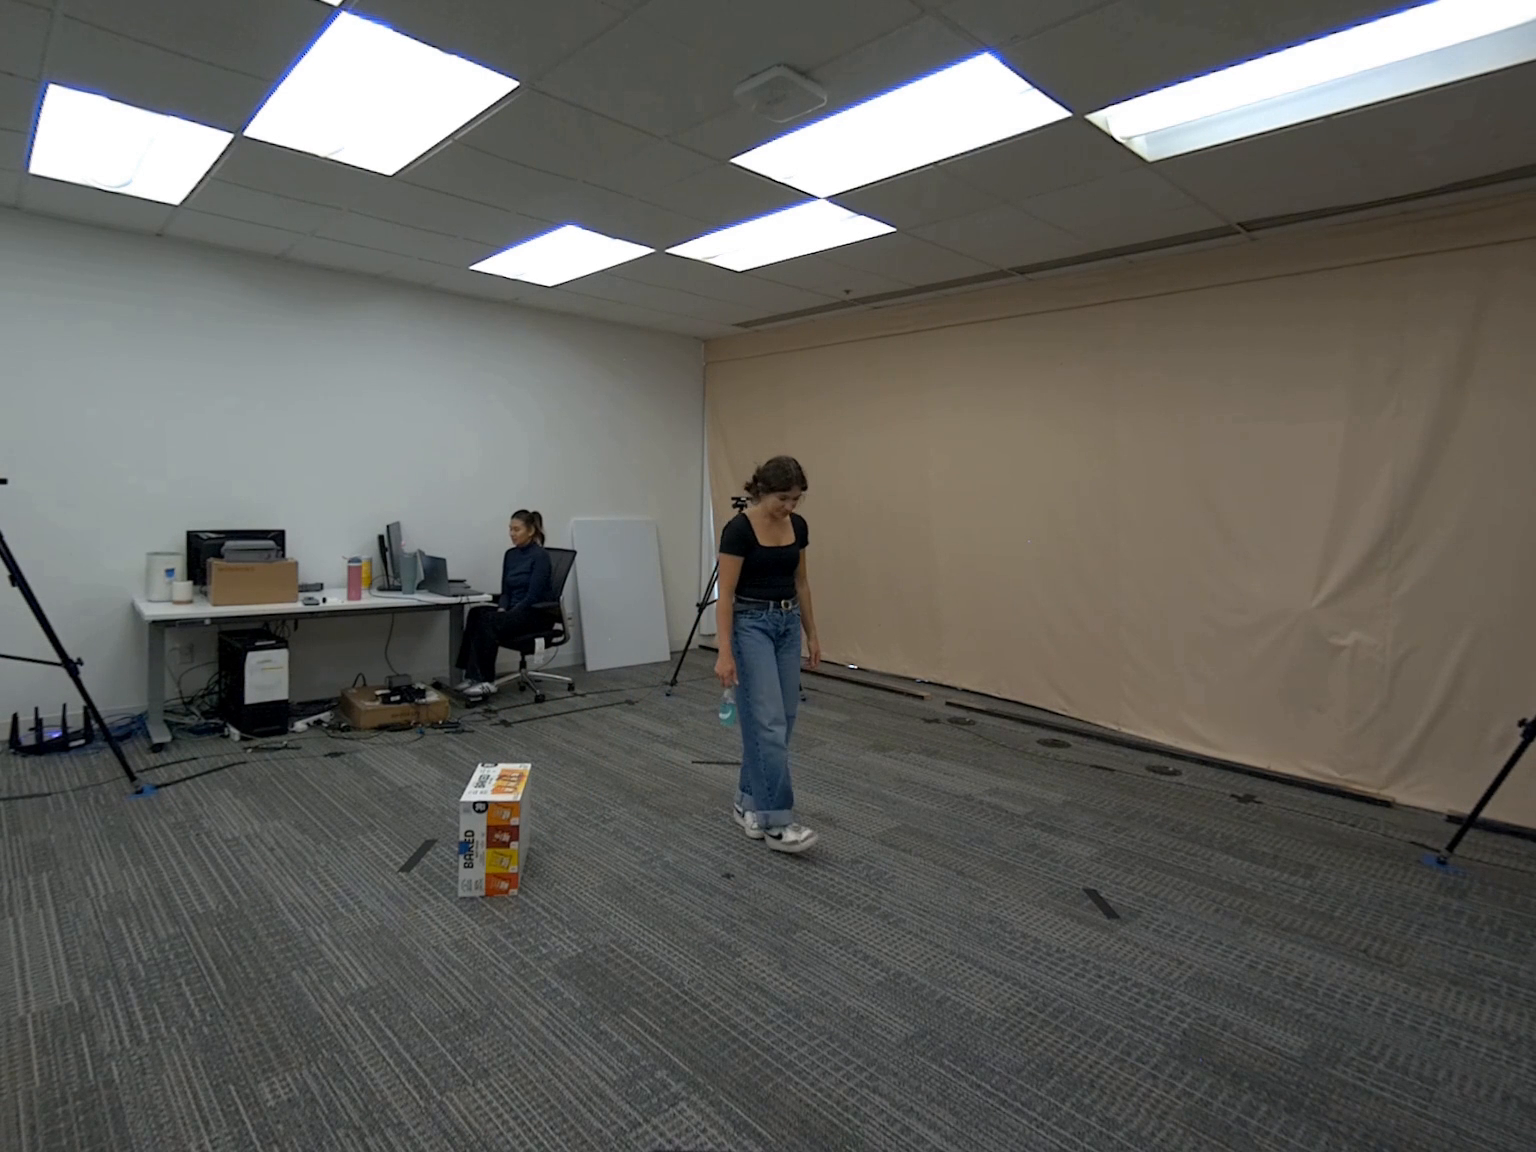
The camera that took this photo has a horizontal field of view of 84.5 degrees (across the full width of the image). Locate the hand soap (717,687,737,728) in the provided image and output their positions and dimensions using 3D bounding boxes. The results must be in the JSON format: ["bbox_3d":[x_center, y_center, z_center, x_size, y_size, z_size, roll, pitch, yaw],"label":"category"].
[{"bbox_3d":[-0.168,0.501,3.306,0.086,0.168,0.042,3,0,36],"label":"hand soap"}]
